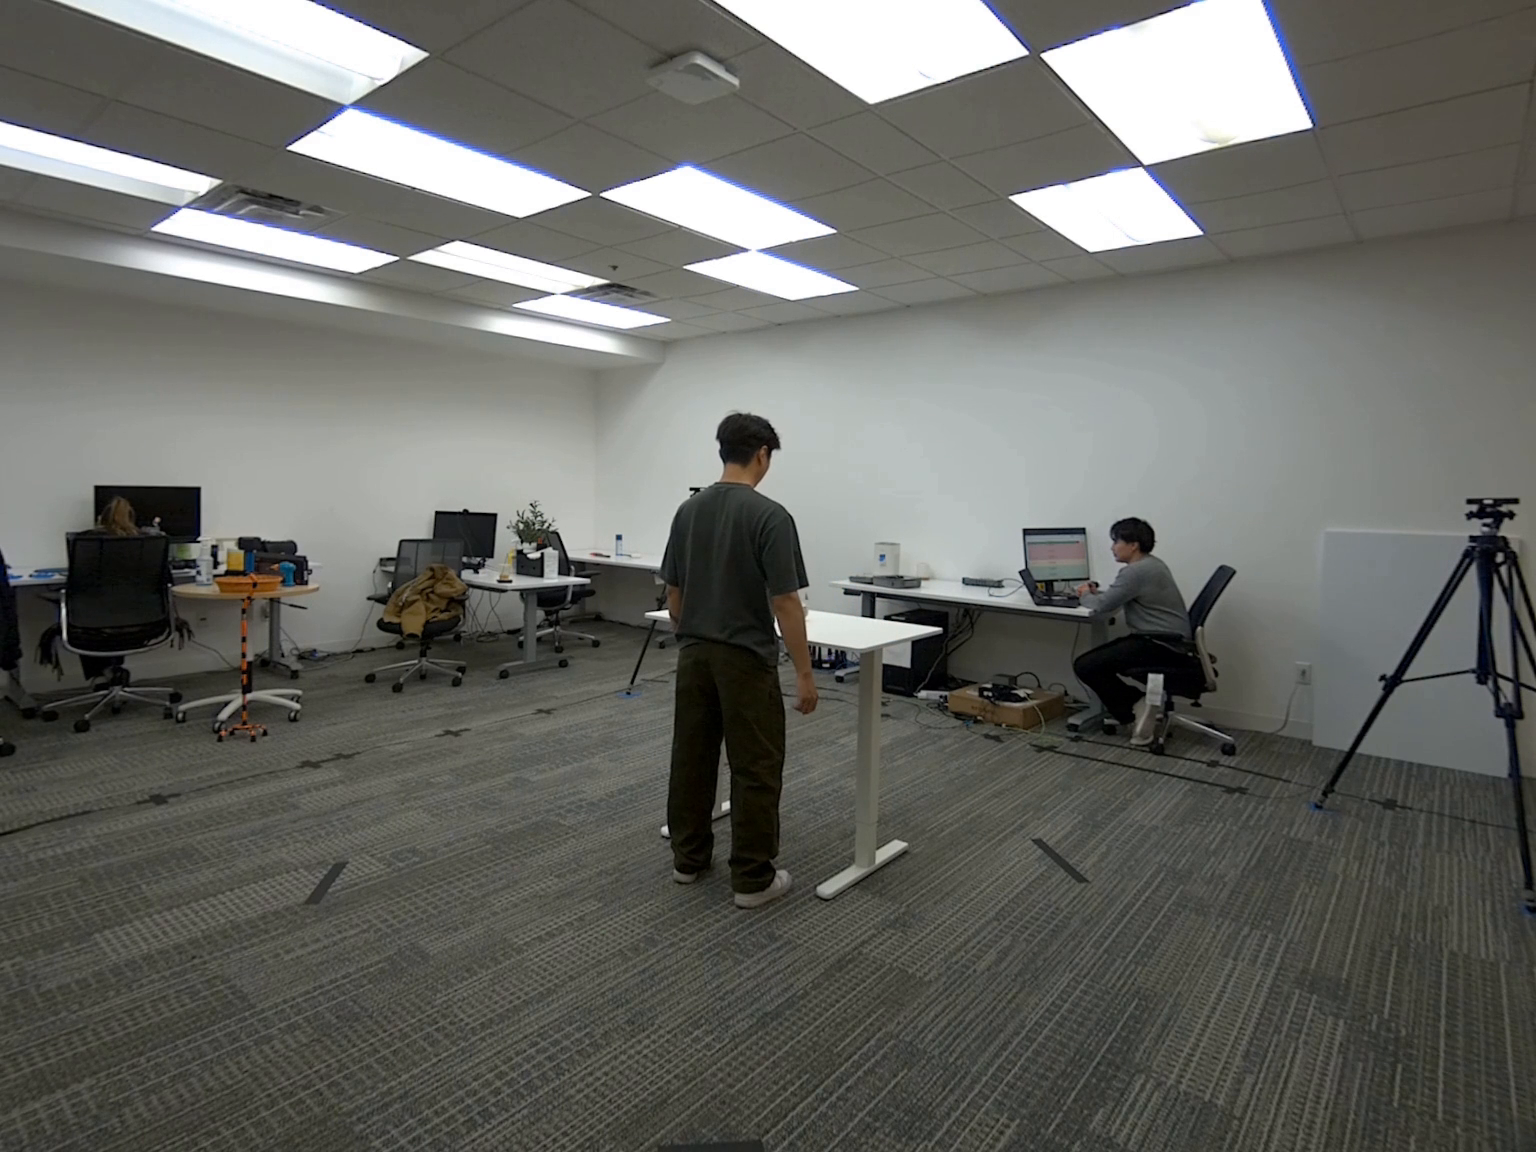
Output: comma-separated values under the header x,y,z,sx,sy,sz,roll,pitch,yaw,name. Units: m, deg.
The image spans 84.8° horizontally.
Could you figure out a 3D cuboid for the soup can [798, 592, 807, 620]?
x,y,z,sx,sy,sz,roll,pitch,yaw,name
0.094,0.137,3.306,0.069,0.067,0.118,4,5,39,soup can
